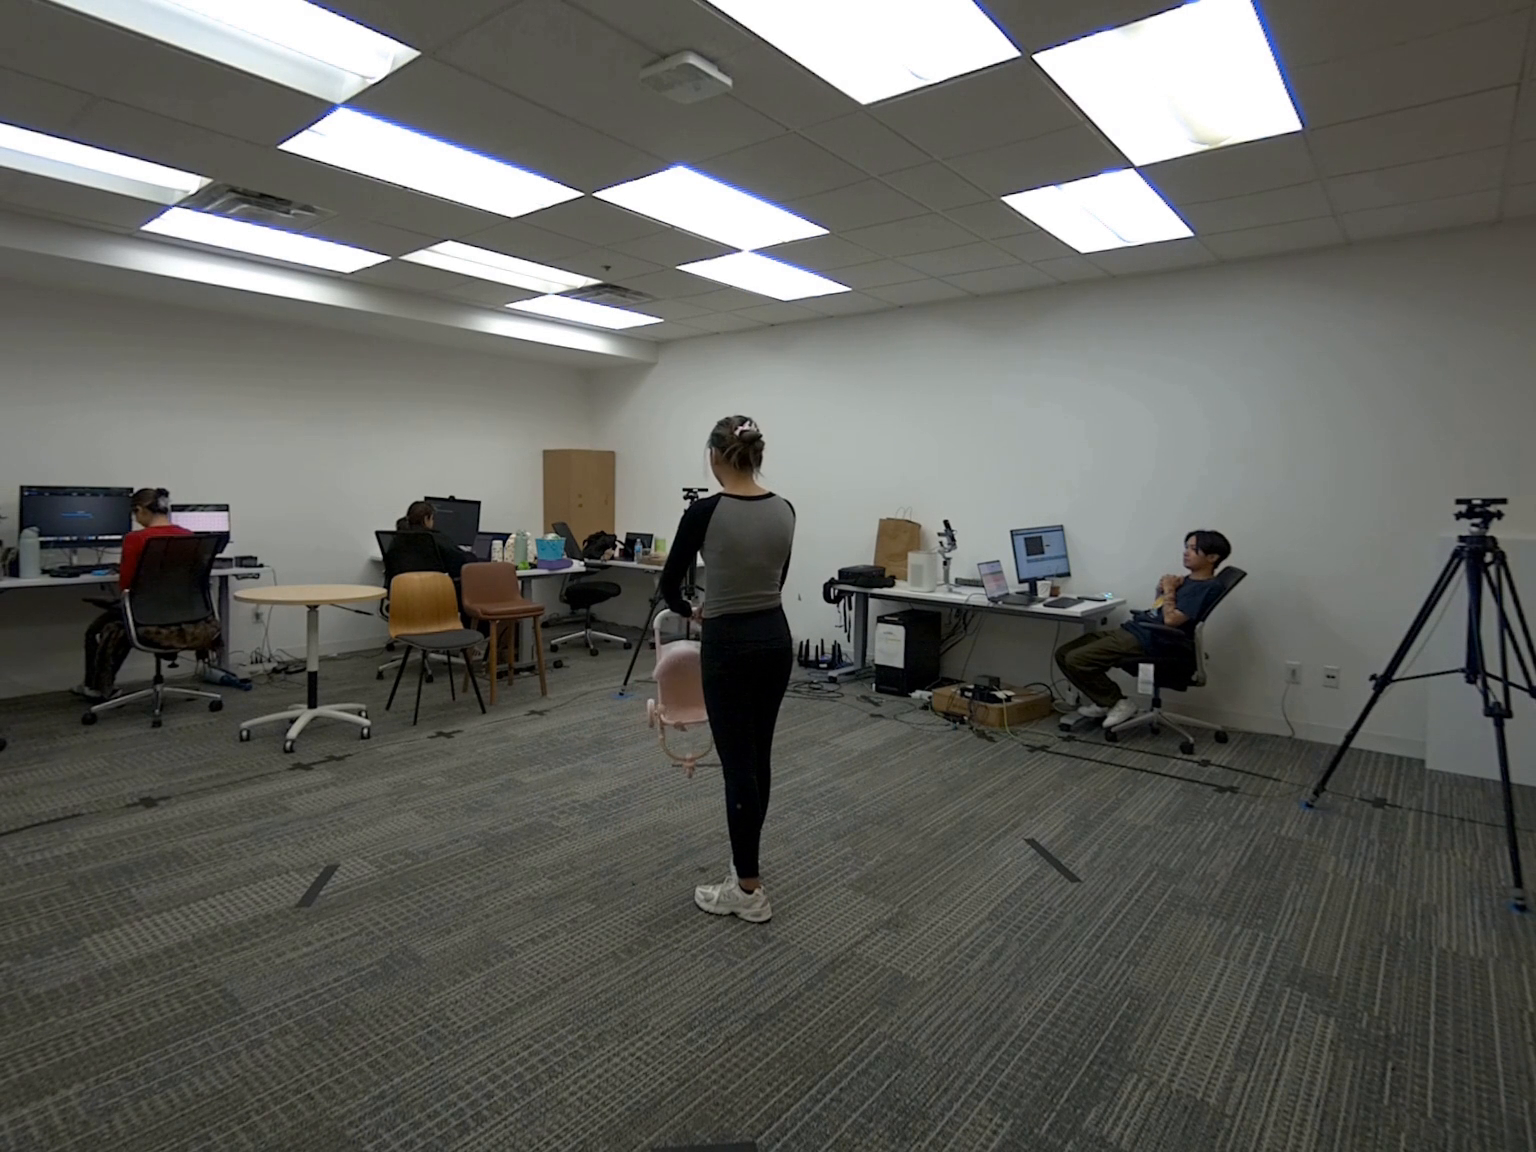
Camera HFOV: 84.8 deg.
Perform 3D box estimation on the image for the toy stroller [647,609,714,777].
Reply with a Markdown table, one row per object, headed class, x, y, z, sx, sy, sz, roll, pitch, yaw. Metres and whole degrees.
| class | x | y | z | sx | sy | sz | roll | pitch | yaw |
| --- | --- | --- | --- | --- | --- | --- | --- | --- | --- |
| toy stroller | -0.314 | 0.435 | 3.091 | 0.280 | 0.523 | 0.351 | 0 | 26 | -6 |
